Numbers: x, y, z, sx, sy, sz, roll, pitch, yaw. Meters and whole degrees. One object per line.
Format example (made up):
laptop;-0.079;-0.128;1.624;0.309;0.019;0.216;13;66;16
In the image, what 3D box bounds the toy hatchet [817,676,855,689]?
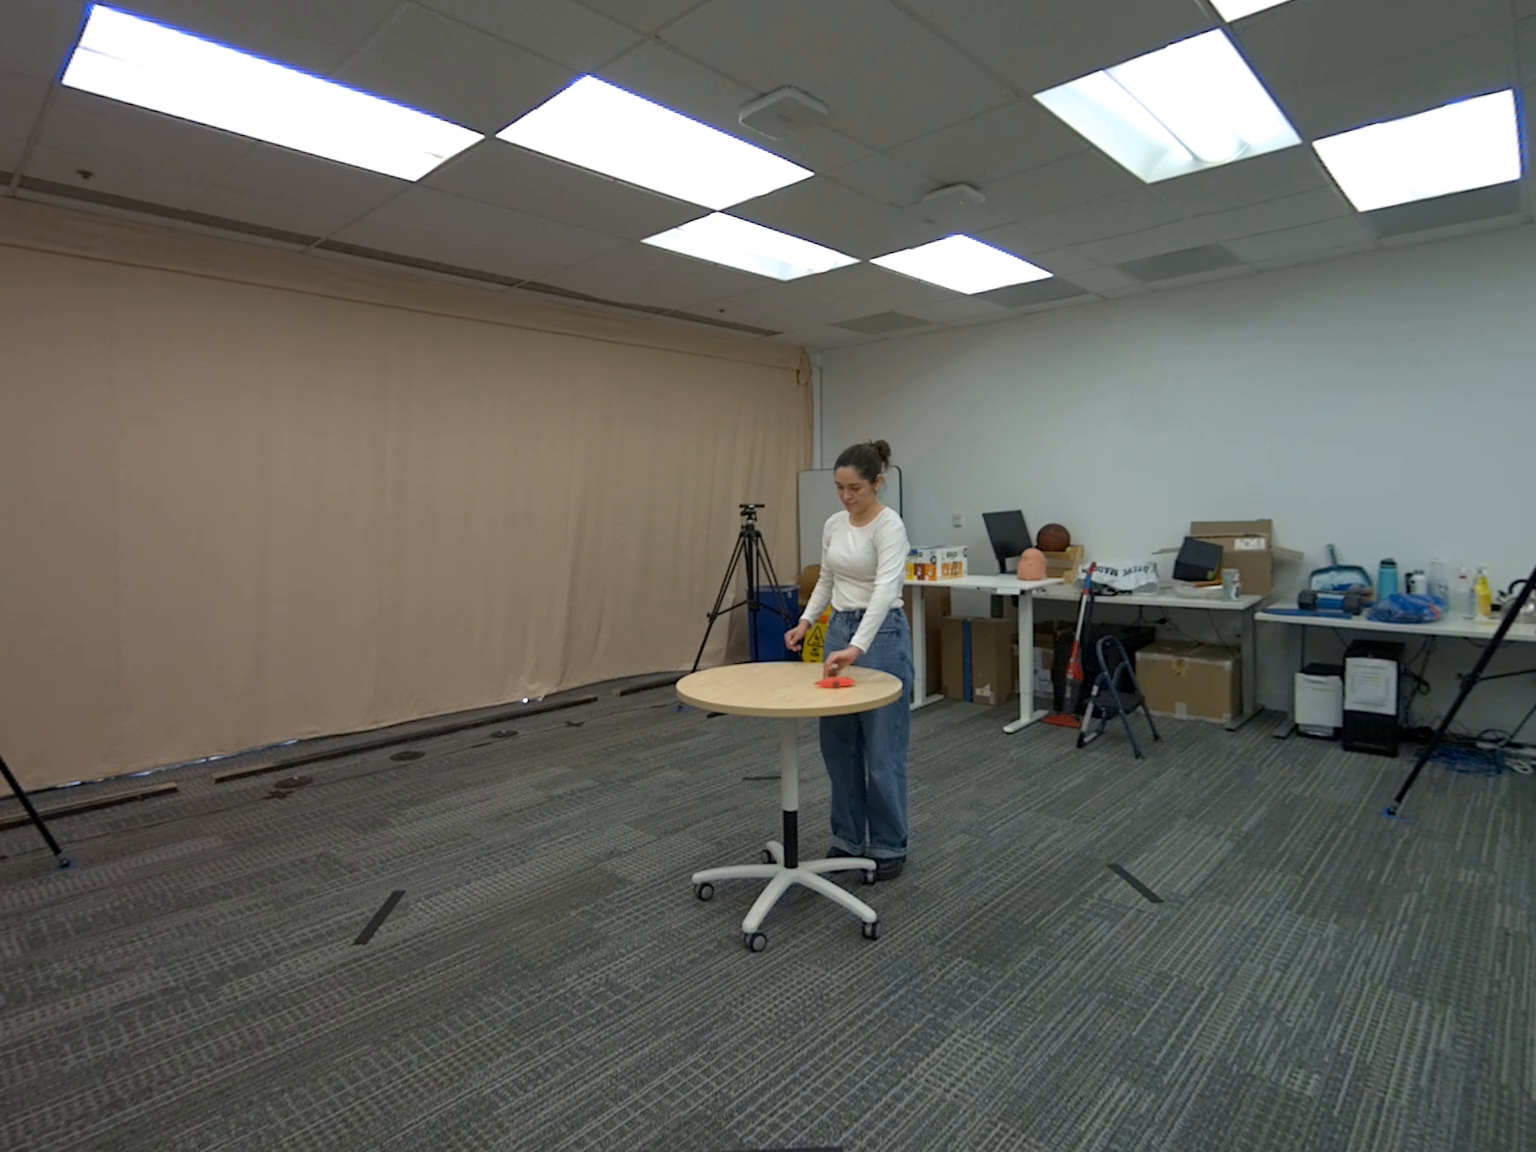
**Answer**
toy hatchet;0.250;0.346;2.884;0.133;0.029;0.266;-6;5;17
